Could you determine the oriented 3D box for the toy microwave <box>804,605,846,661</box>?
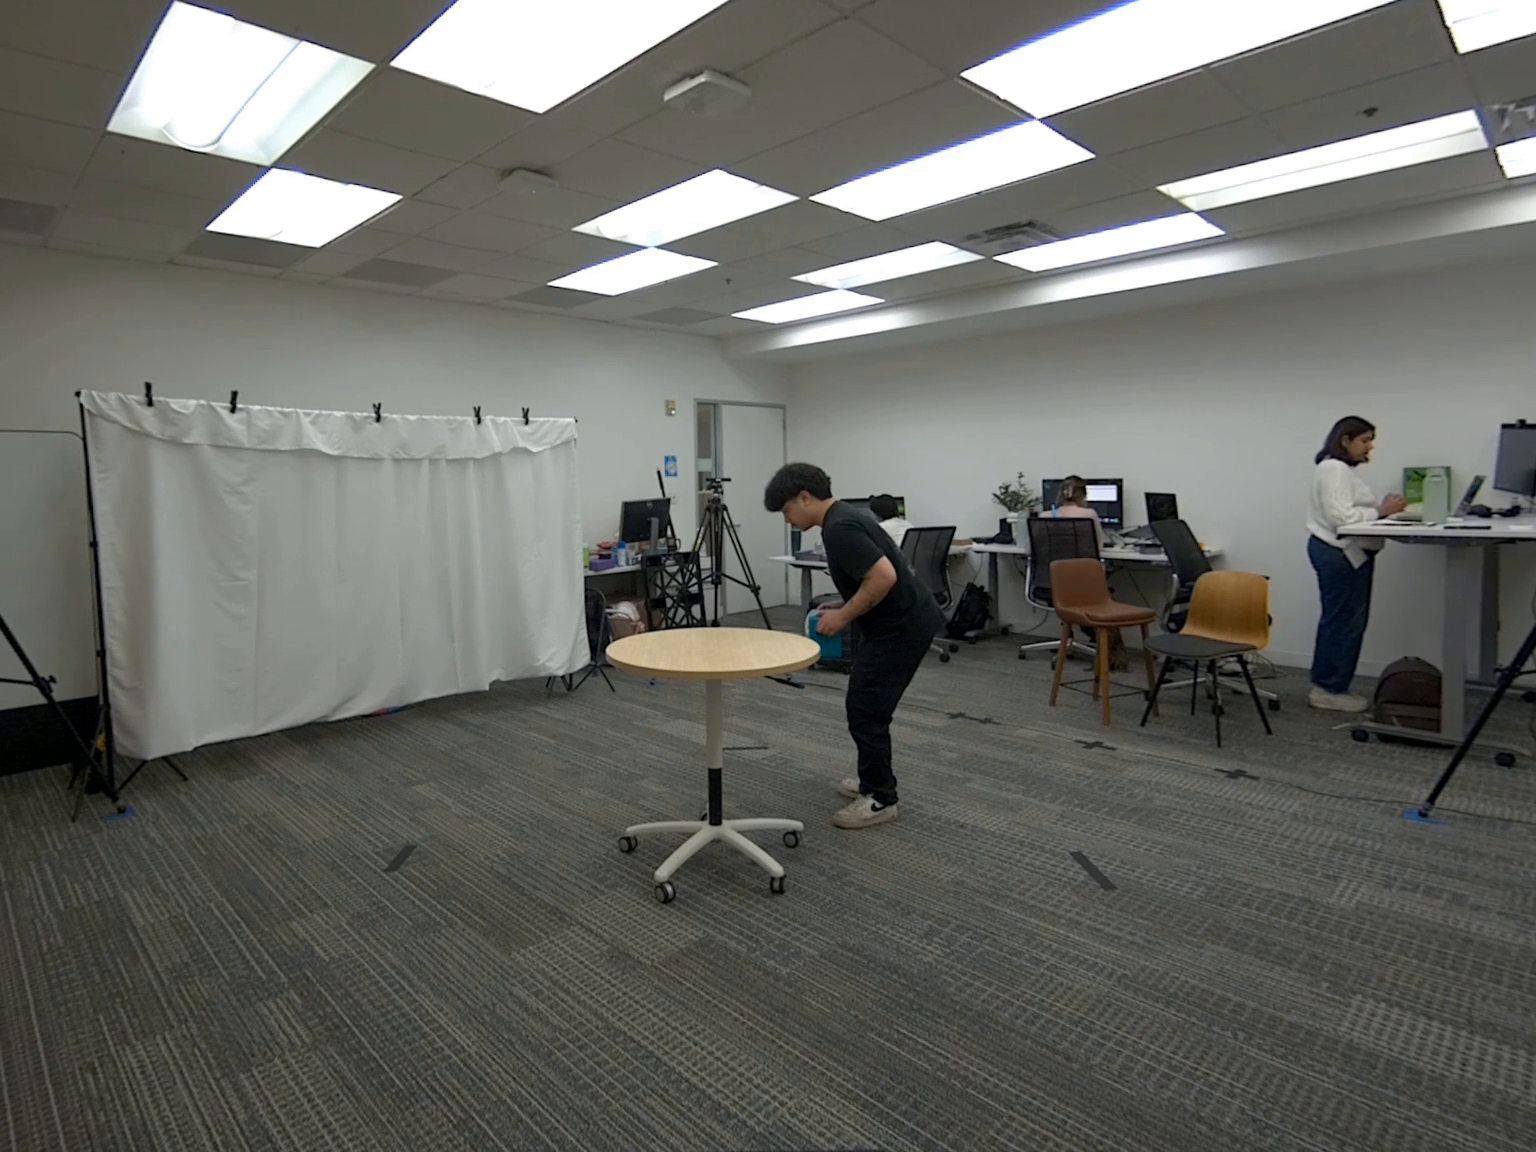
[{"bbox_3d":[0.238,0.232,3.579,0.153,0.184,0.285,-3,3,6],"label":"toy microwave"}]
